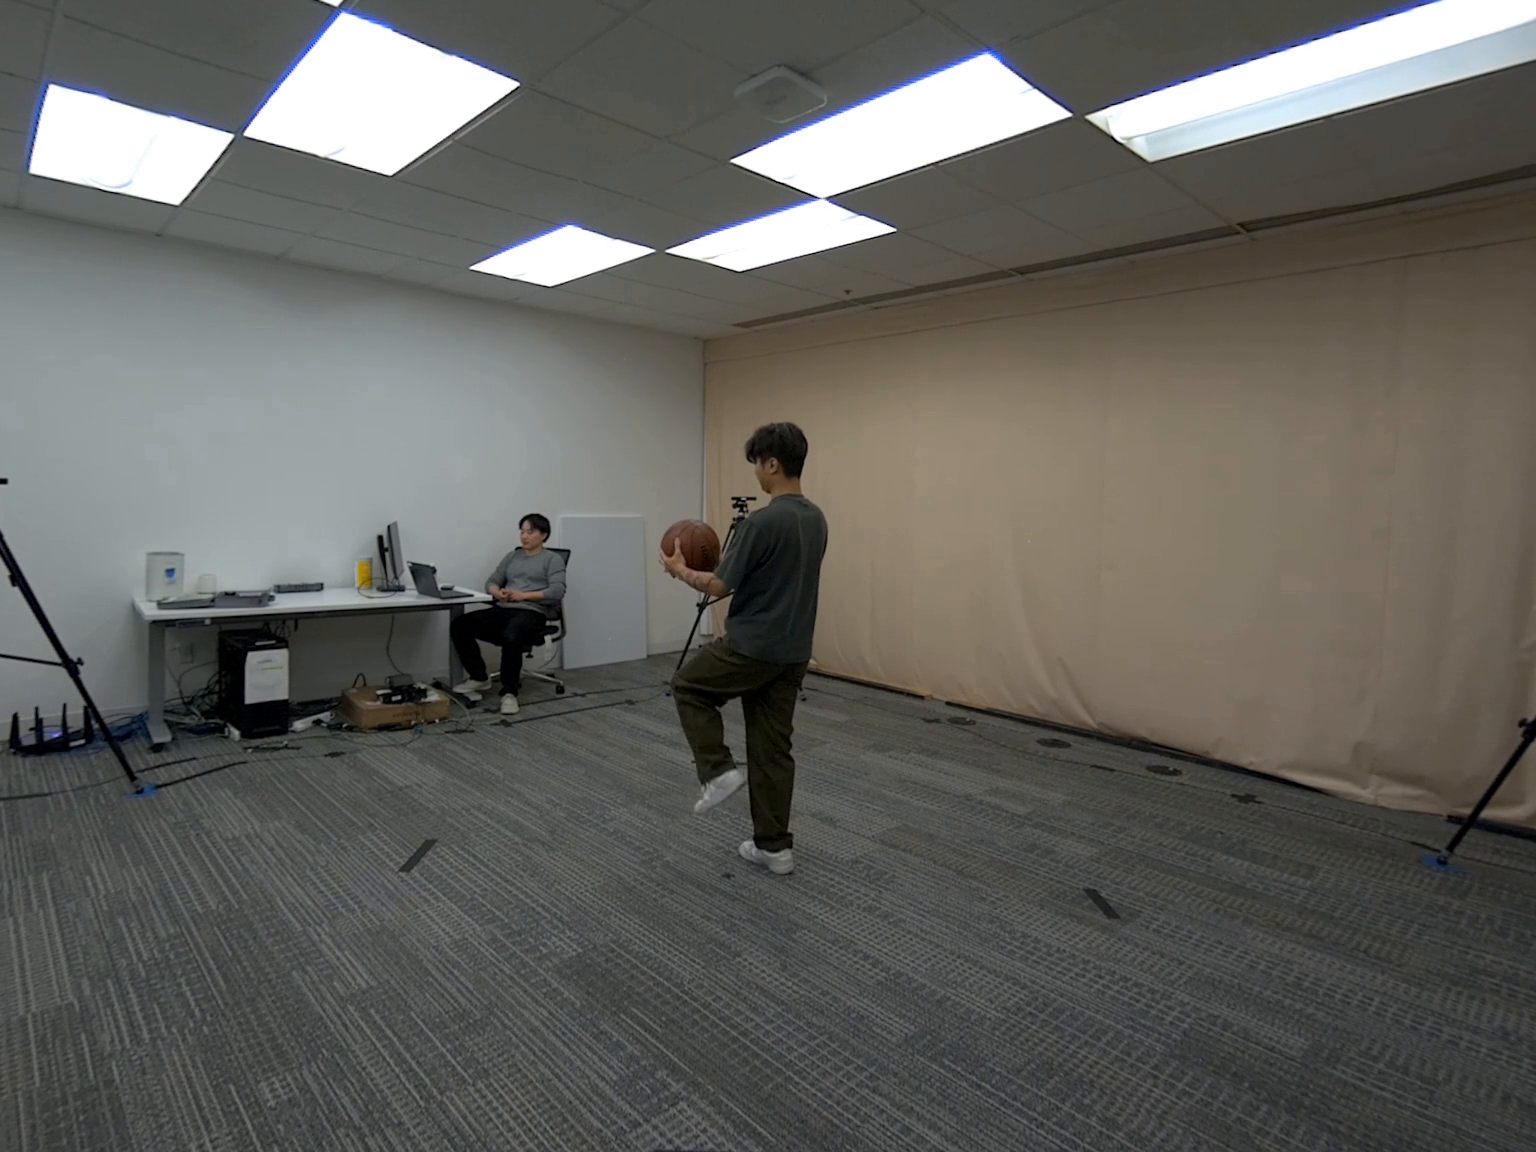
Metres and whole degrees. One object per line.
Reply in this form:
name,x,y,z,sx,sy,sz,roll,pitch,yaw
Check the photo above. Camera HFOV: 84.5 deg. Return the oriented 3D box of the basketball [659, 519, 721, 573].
basketball,-0.315,-0.114,3.332,0.236,0.235,0.237,1,4,-1
